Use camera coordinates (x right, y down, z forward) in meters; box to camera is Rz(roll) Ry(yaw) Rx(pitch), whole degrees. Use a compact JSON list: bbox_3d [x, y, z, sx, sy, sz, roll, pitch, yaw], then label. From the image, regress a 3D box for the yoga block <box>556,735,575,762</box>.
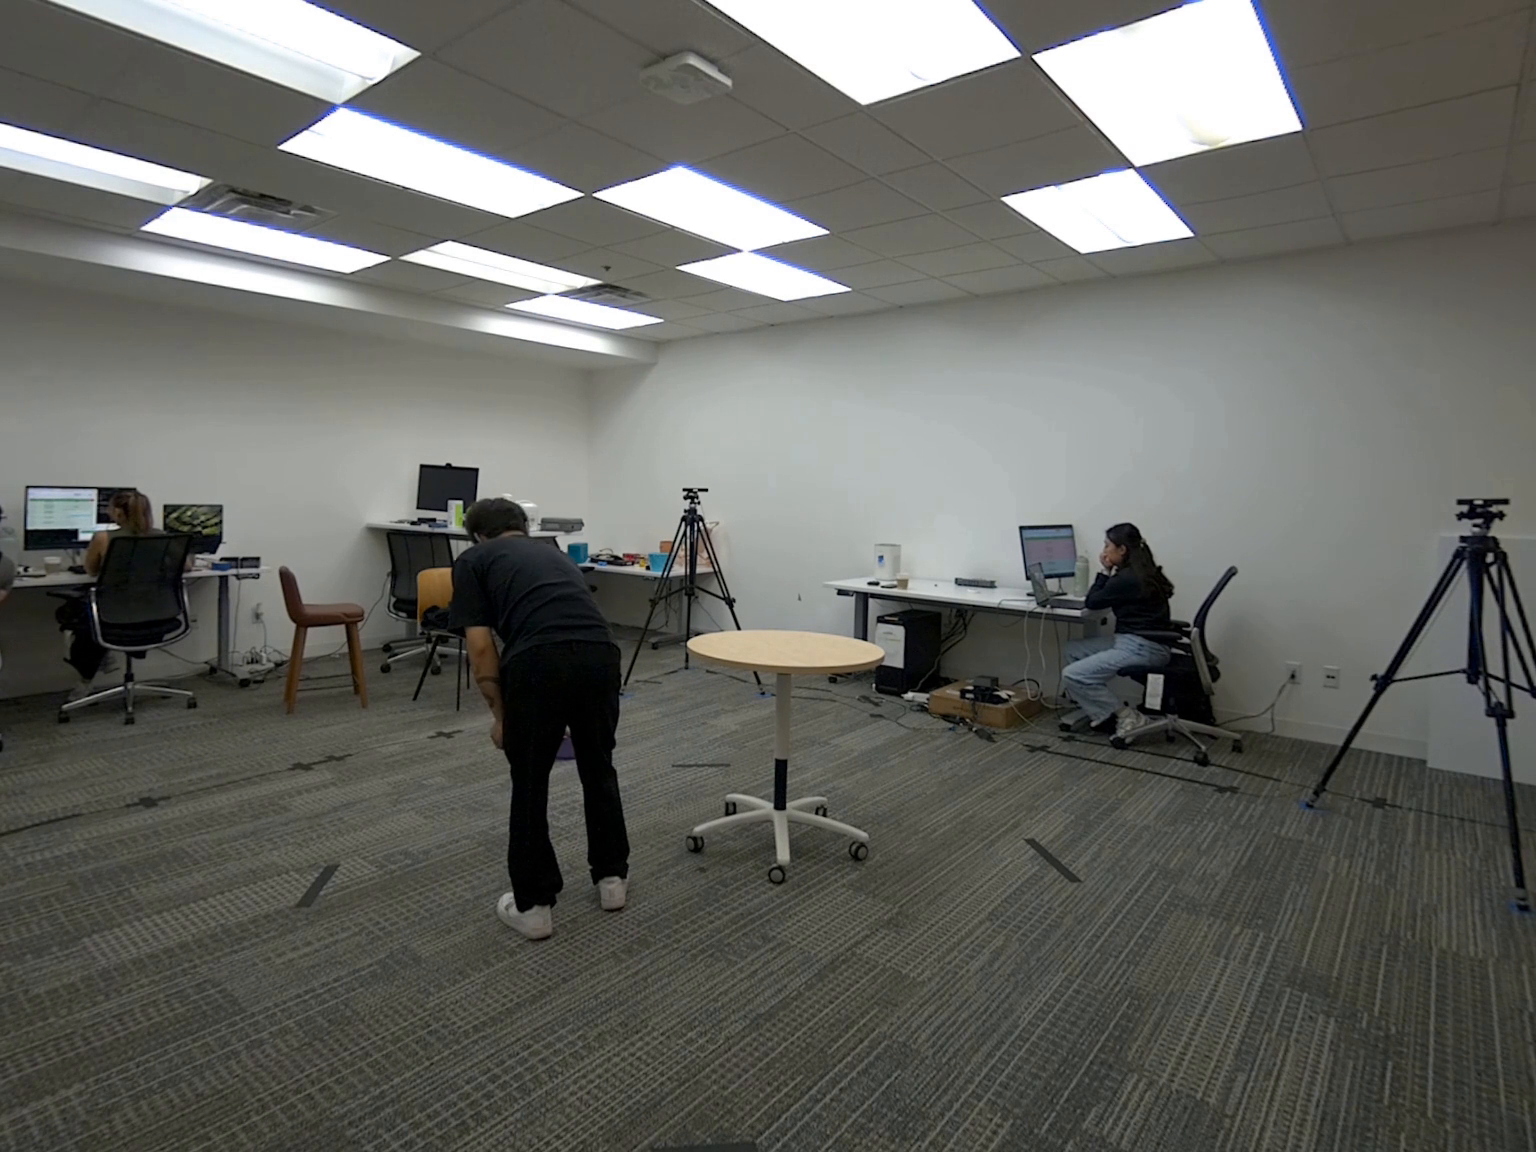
[{"bbox_3d":[-0.803,0.634,3.109,0.146,0.077,0.230,4,-14,-18],"label":"yoga block"}]
